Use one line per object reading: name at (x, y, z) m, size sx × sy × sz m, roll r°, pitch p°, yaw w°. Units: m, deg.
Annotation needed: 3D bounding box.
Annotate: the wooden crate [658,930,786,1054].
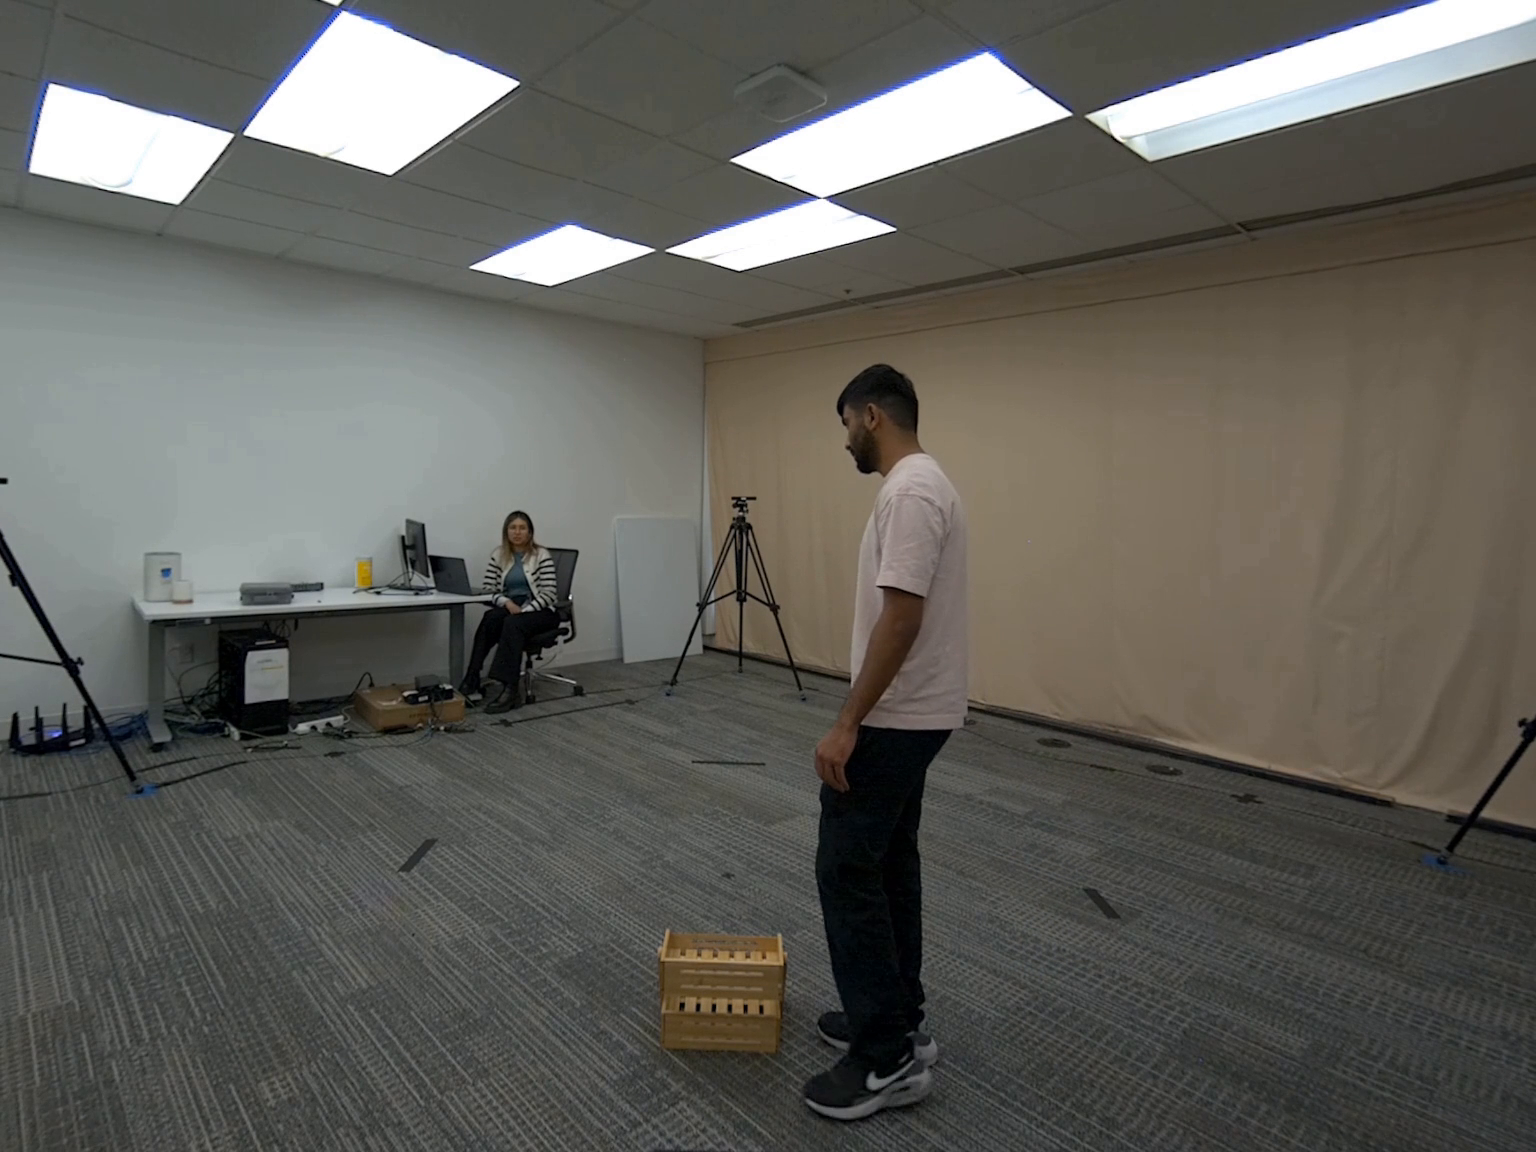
wooden crate at (-0.121, 1.053, 2.213) m, size 0.324 × 0.272 × 0.303 m, roll 1°, pitch 6°, yaw -1°
